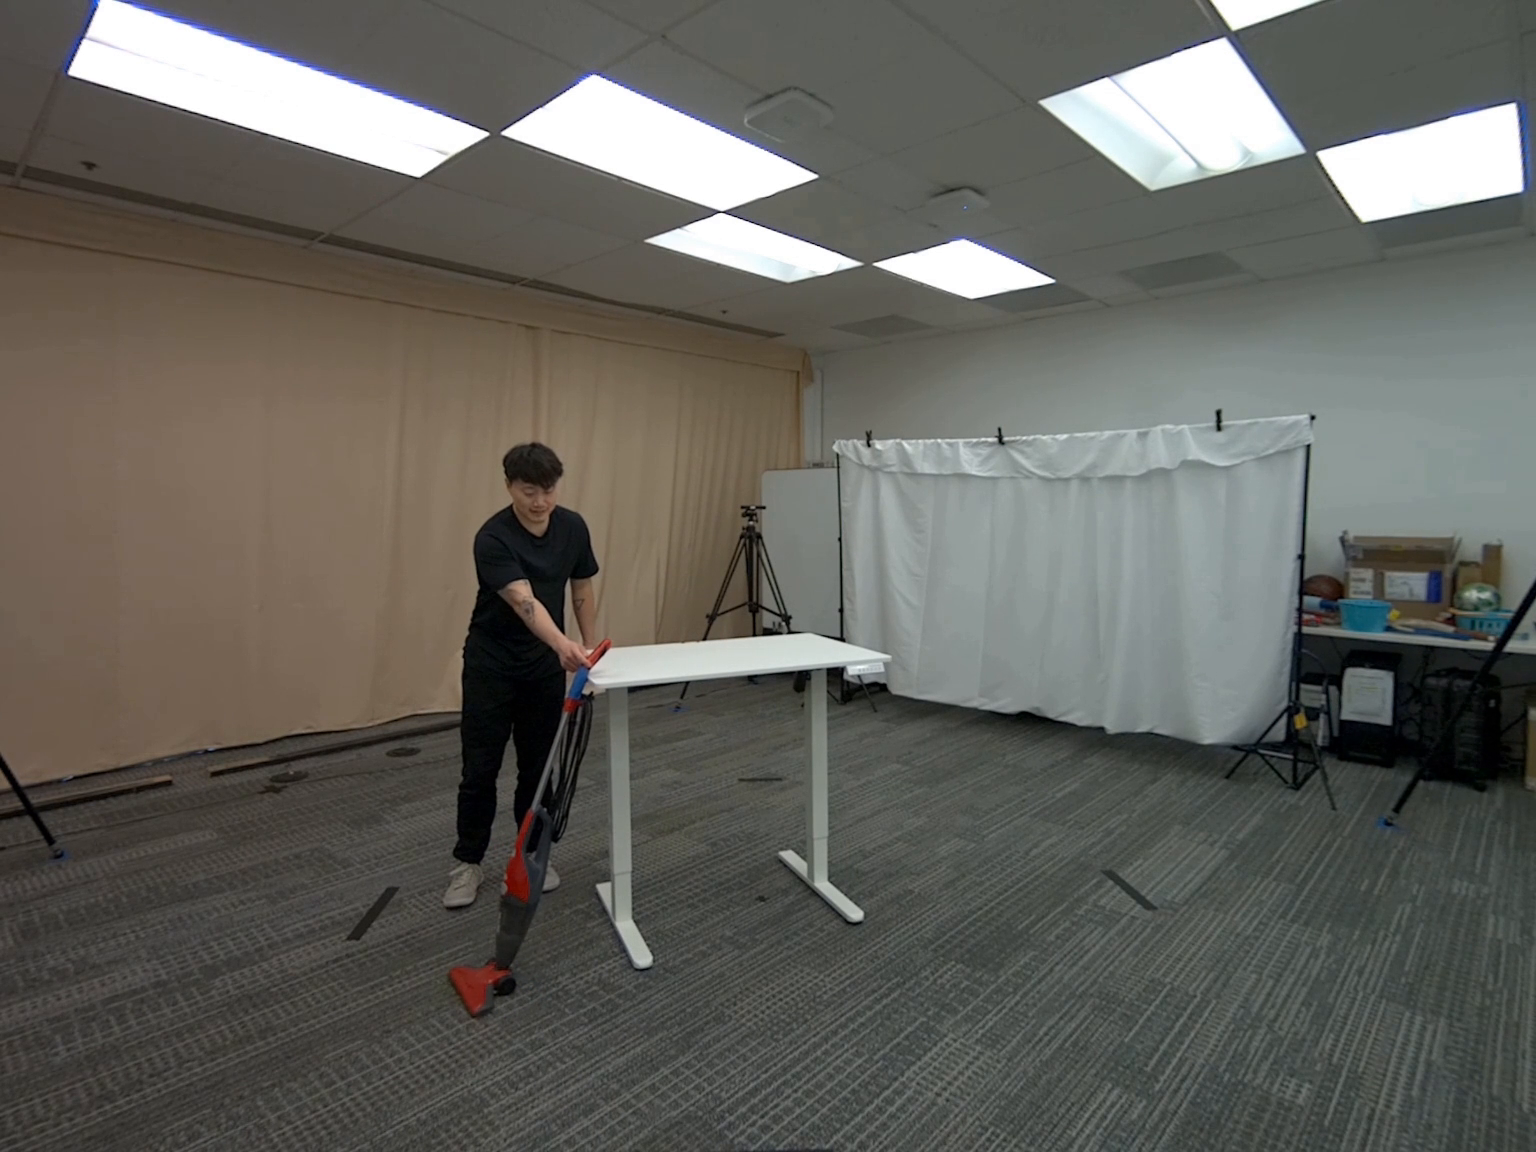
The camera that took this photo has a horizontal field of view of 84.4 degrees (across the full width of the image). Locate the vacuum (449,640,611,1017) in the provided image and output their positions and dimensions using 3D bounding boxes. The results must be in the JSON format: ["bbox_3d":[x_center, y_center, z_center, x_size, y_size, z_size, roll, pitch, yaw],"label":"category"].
[{"bbox_3d":[-0.663,0.706,2.497,0.139,1.051,0.261,24,-10,-37],"label":"vacuum"}]
